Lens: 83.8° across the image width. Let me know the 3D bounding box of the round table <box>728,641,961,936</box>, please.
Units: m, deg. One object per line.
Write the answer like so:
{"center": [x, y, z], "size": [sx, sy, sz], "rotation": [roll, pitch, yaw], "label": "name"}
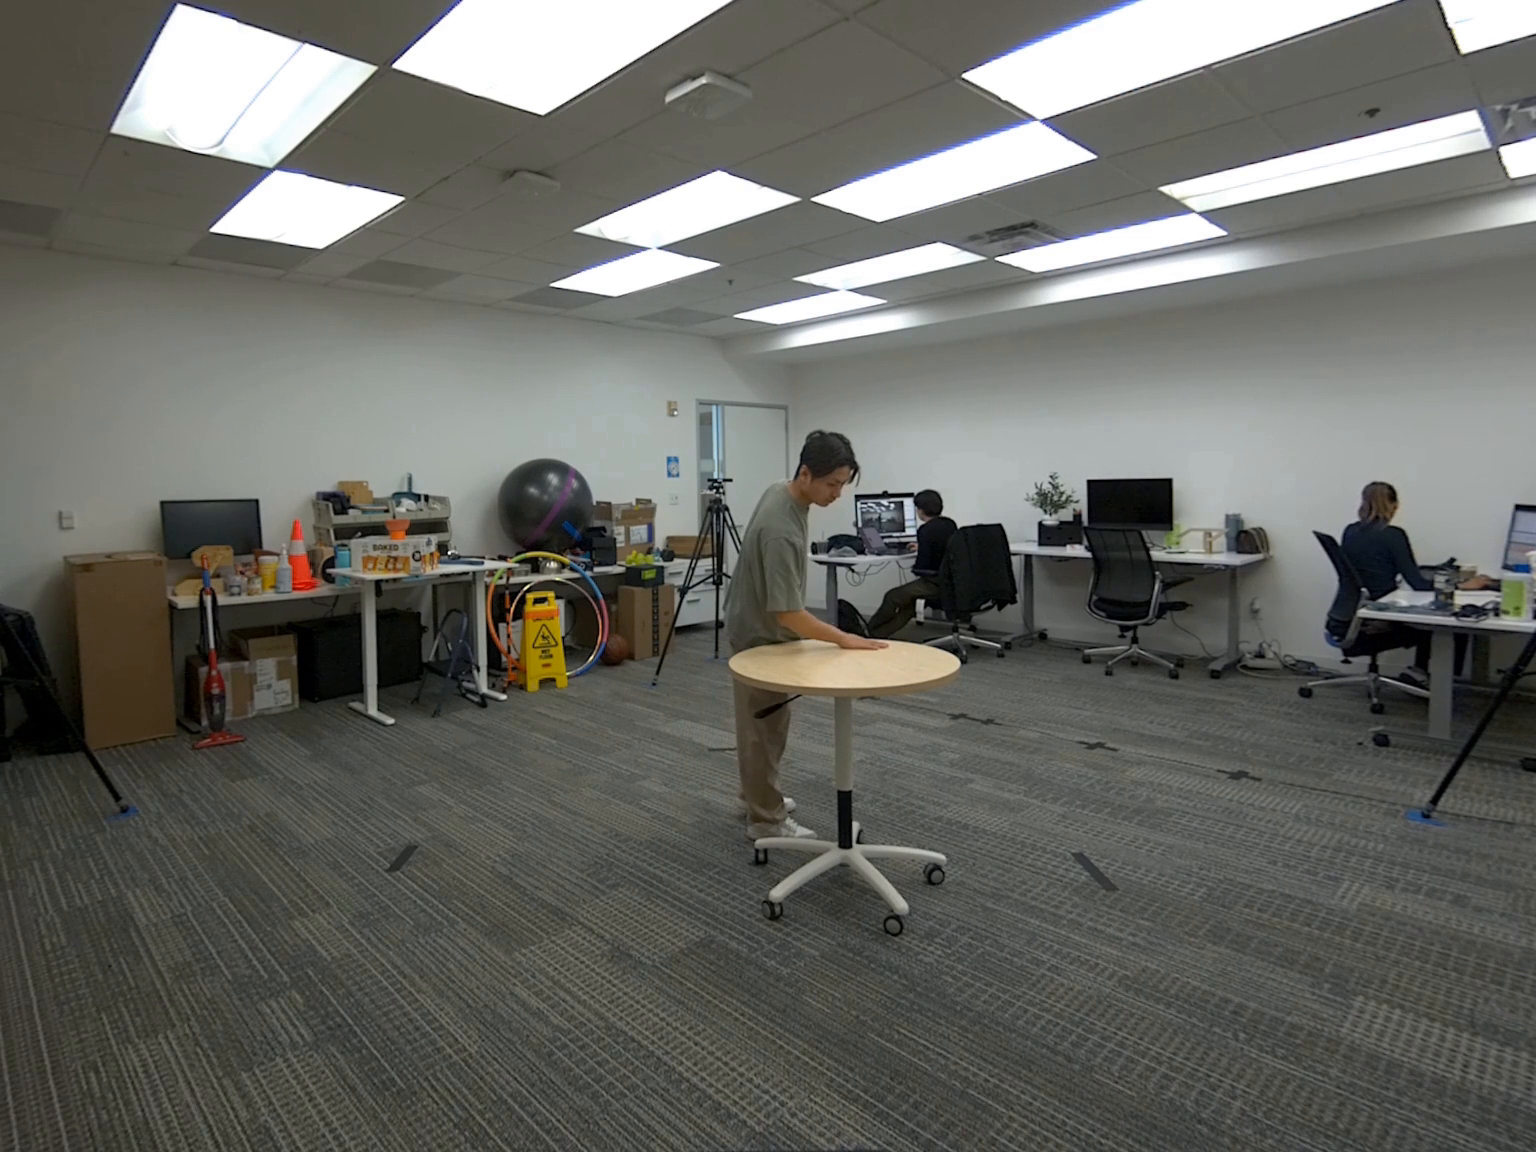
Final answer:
{"center": [0.269, 0.676, 2.894], "size": [0.763, 0.791, 0.768], "rotation": [-1, 5, -2], "label": "round table"}
